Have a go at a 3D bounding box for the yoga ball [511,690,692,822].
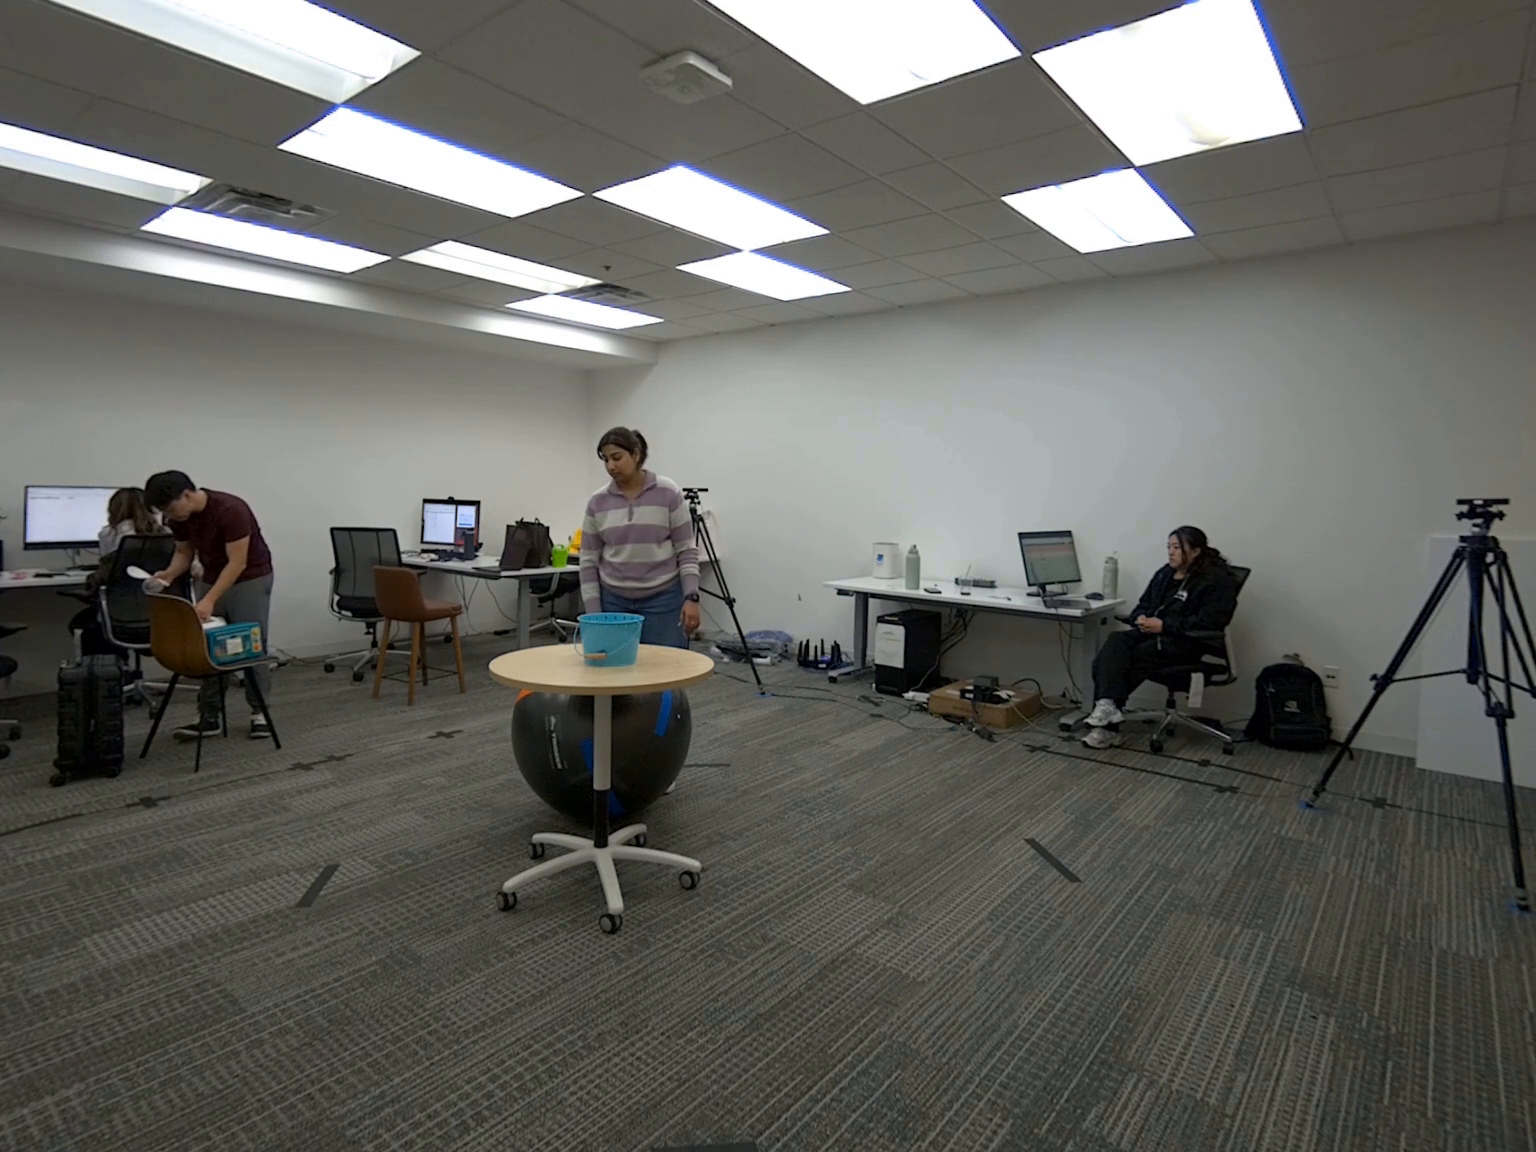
[{"bbox_3d":[-0.713,0.644,3.616,0.757,0.755,0.762,1,4,-2],"label":"yoga ball"}]
